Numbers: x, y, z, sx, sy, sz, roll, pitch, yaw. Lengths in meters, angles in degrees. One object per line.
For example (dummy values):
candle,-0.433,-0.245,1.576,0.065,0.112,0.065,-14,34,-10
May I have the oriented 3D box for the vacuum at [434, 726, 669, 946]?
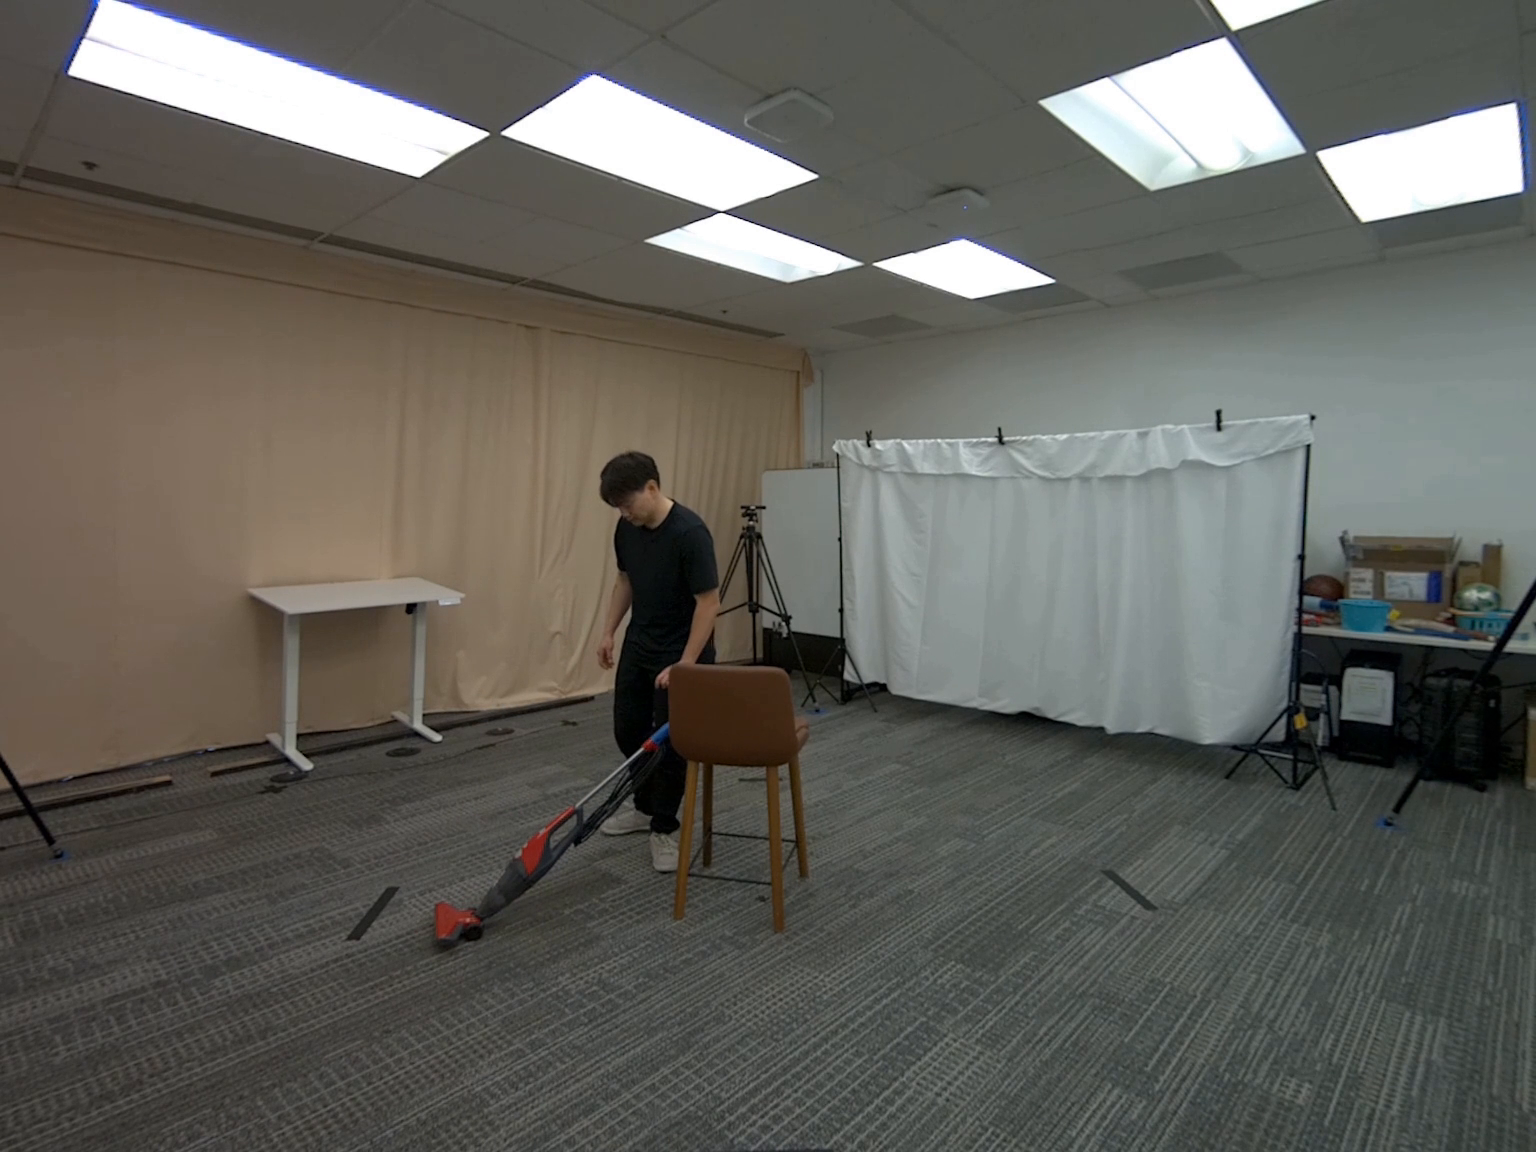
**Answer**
vacuum,-0.640,0.823,2.879,1.043,0.141,0.259,-40,18,-15
